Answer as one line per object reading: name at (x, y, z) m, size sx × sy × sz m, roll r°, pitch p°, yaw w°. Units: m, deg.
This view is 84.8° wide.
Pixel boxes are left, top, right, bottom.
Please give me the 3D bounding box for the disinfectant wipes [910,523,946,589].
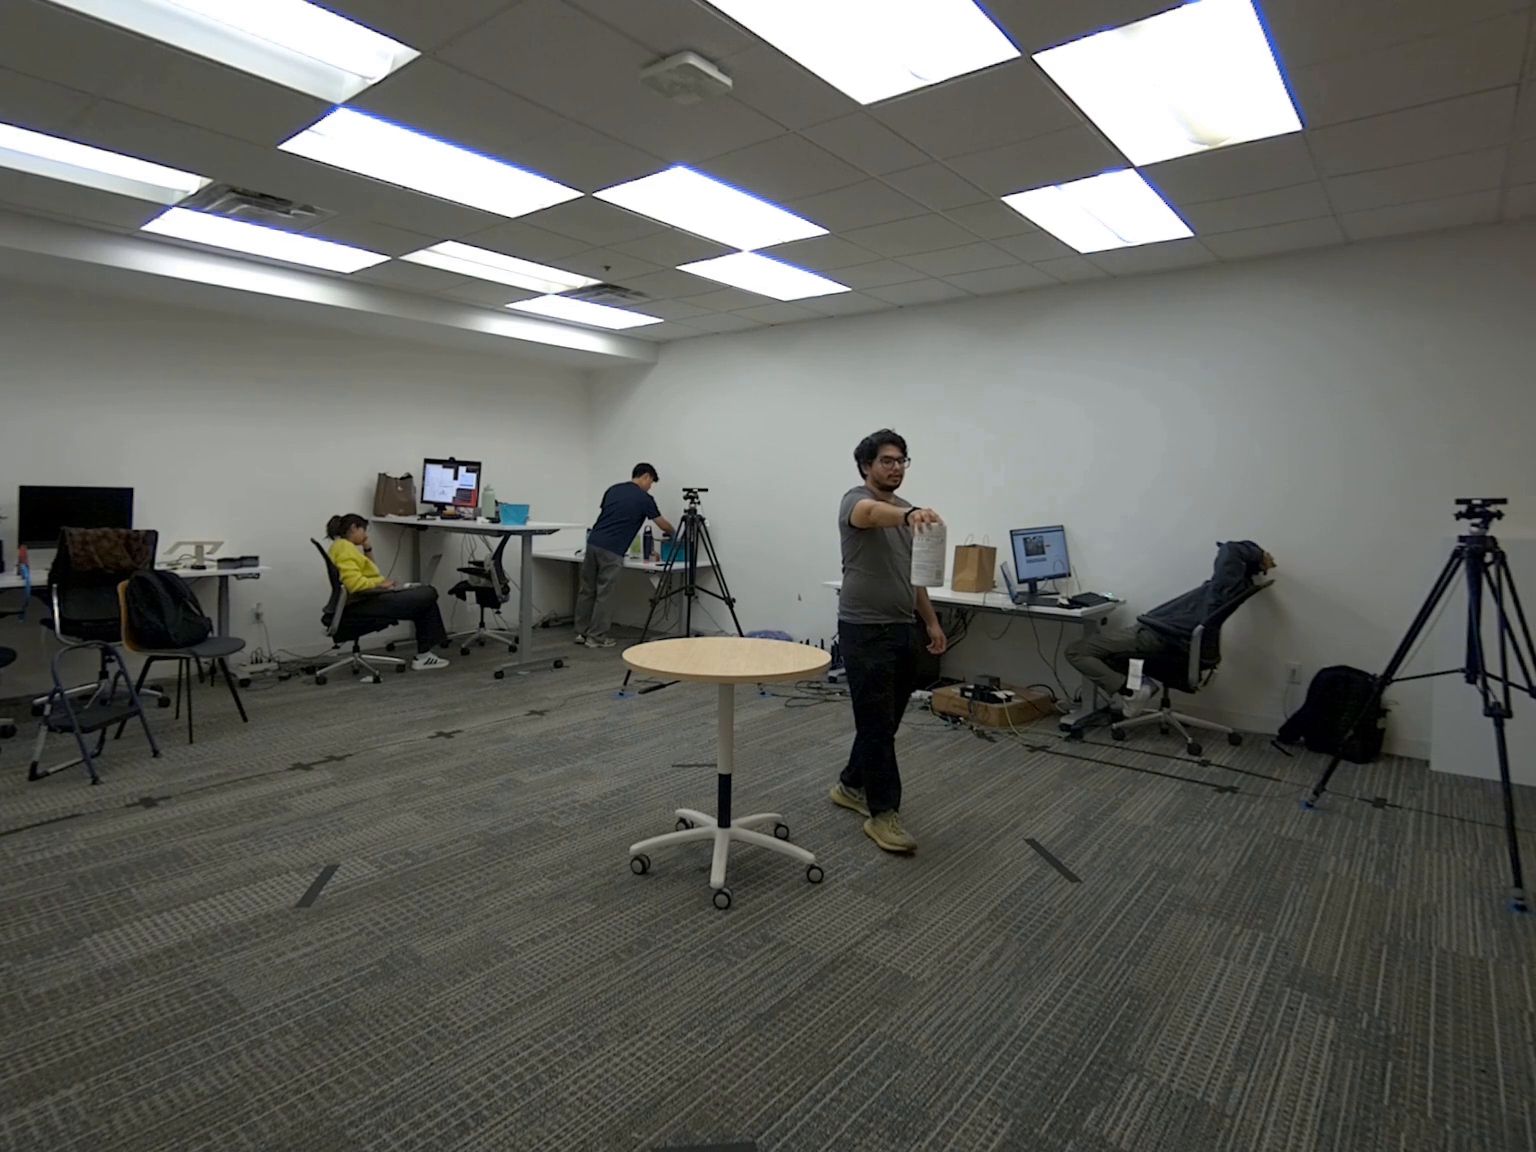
disinfectant wipes at (0.543, -0.082, 2.877) m, size 0.118 × 0.216 × 0.118 m, roll 1°, pitch 4°, yaw -2°
